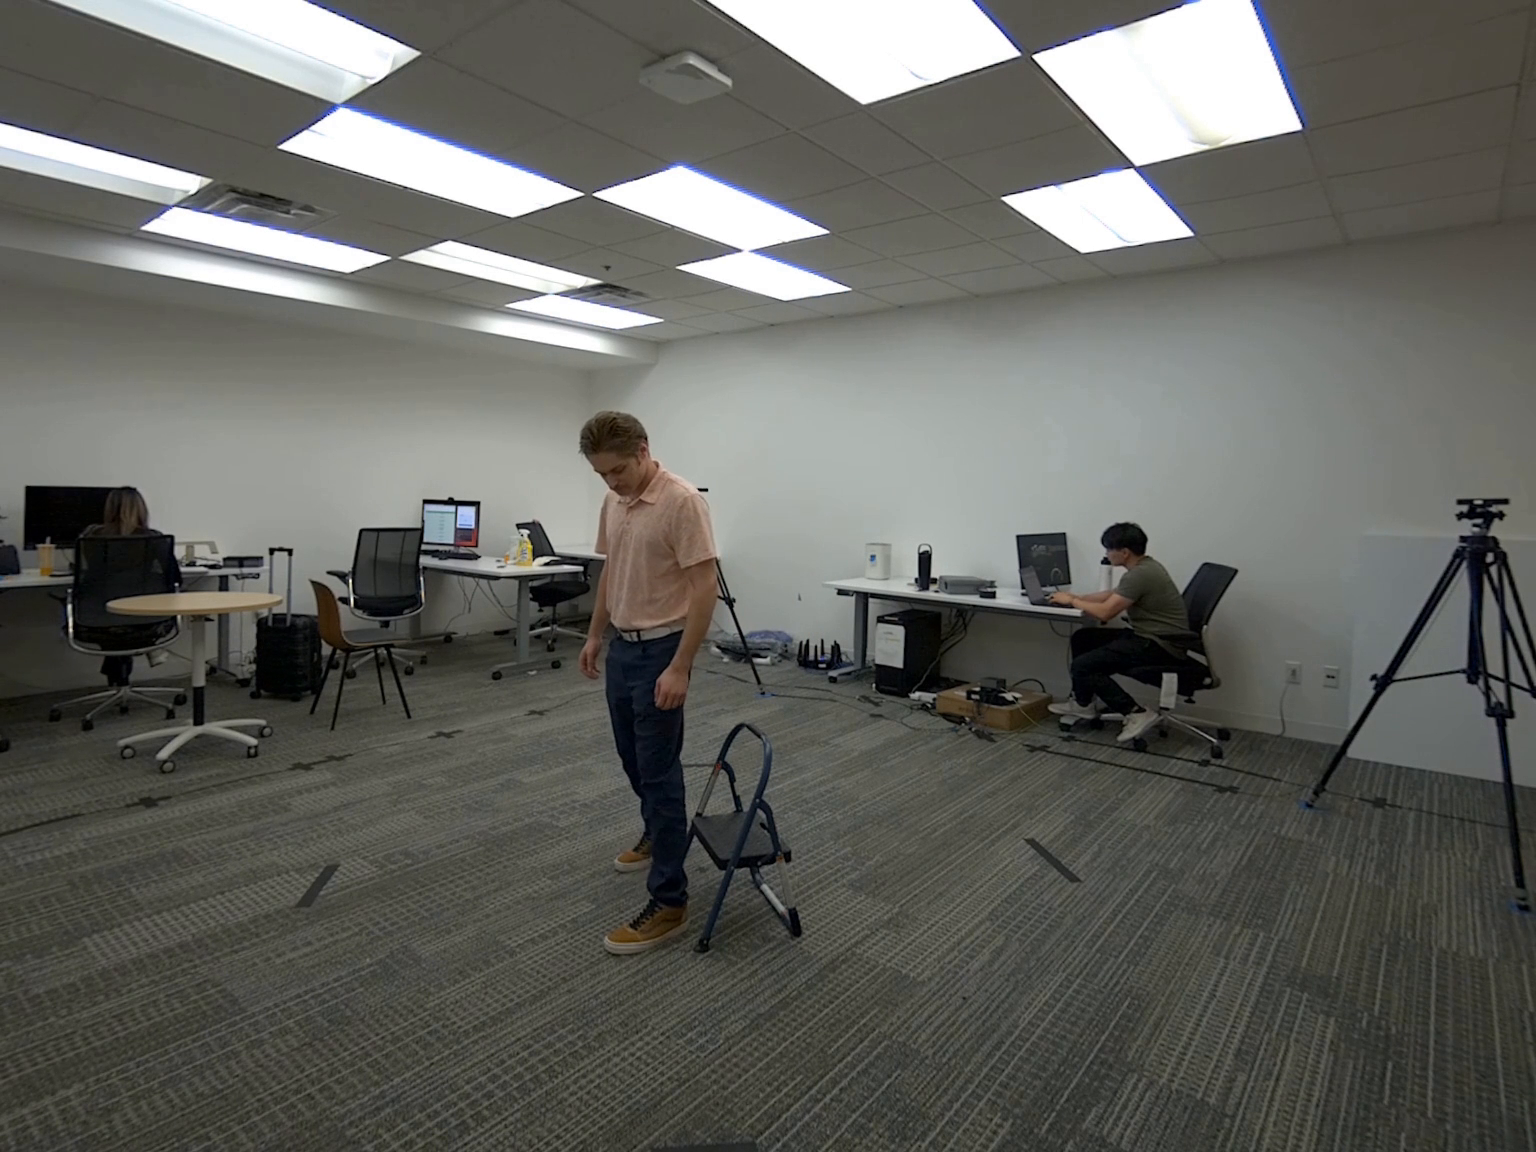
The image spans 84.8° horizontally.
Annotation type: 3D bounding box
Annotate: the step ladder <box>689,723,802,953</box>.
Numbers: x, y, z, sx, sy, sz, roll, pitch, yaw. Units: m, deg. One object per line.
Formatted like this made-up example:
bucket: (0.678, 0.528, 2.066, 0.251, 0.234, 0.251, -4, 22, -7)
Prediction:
step ladder: (-0.123, 0.803, 2.776, 0.342, 0.604, 0.441, -1, 4, -20)
